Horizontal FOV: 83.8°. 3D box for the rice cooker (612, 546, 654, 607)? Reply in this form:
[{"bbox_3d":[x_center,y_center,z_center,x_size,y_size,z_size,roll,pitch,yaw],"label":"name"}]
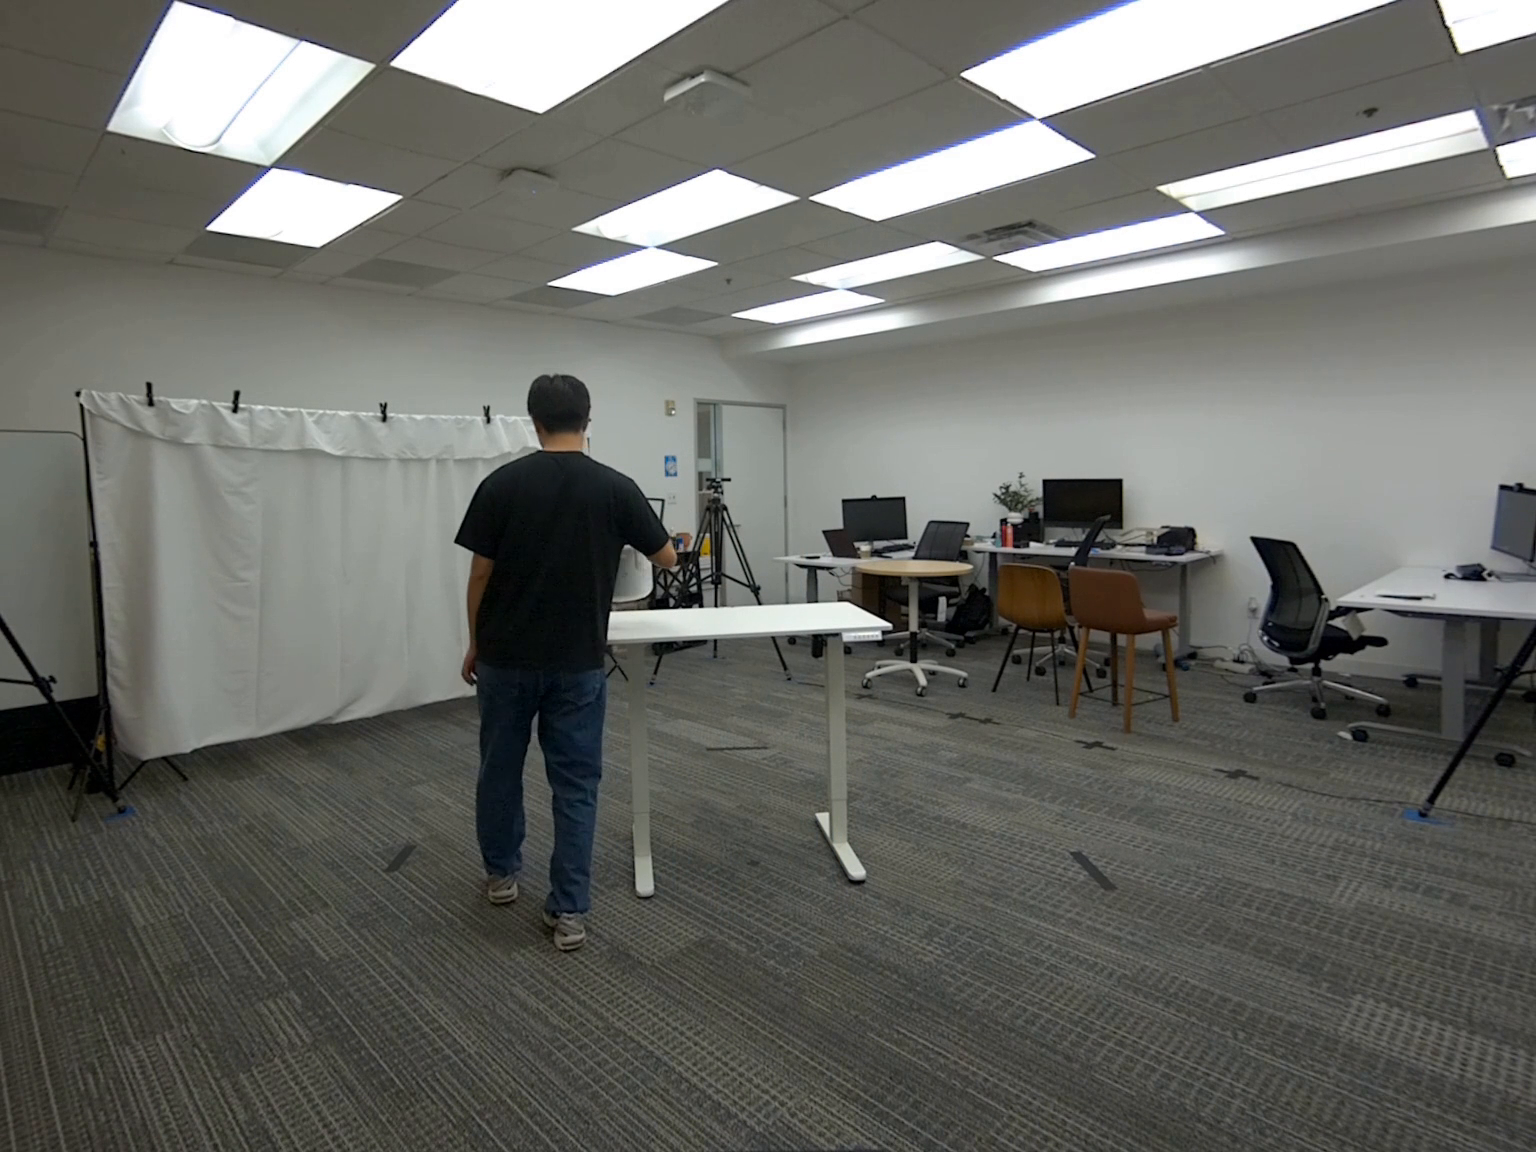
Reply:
[{"bbox_3d":[-0.512,-0.041,2.998,0.228,0.230,0.213,8,16,42],"label":"rice cooker"}]
